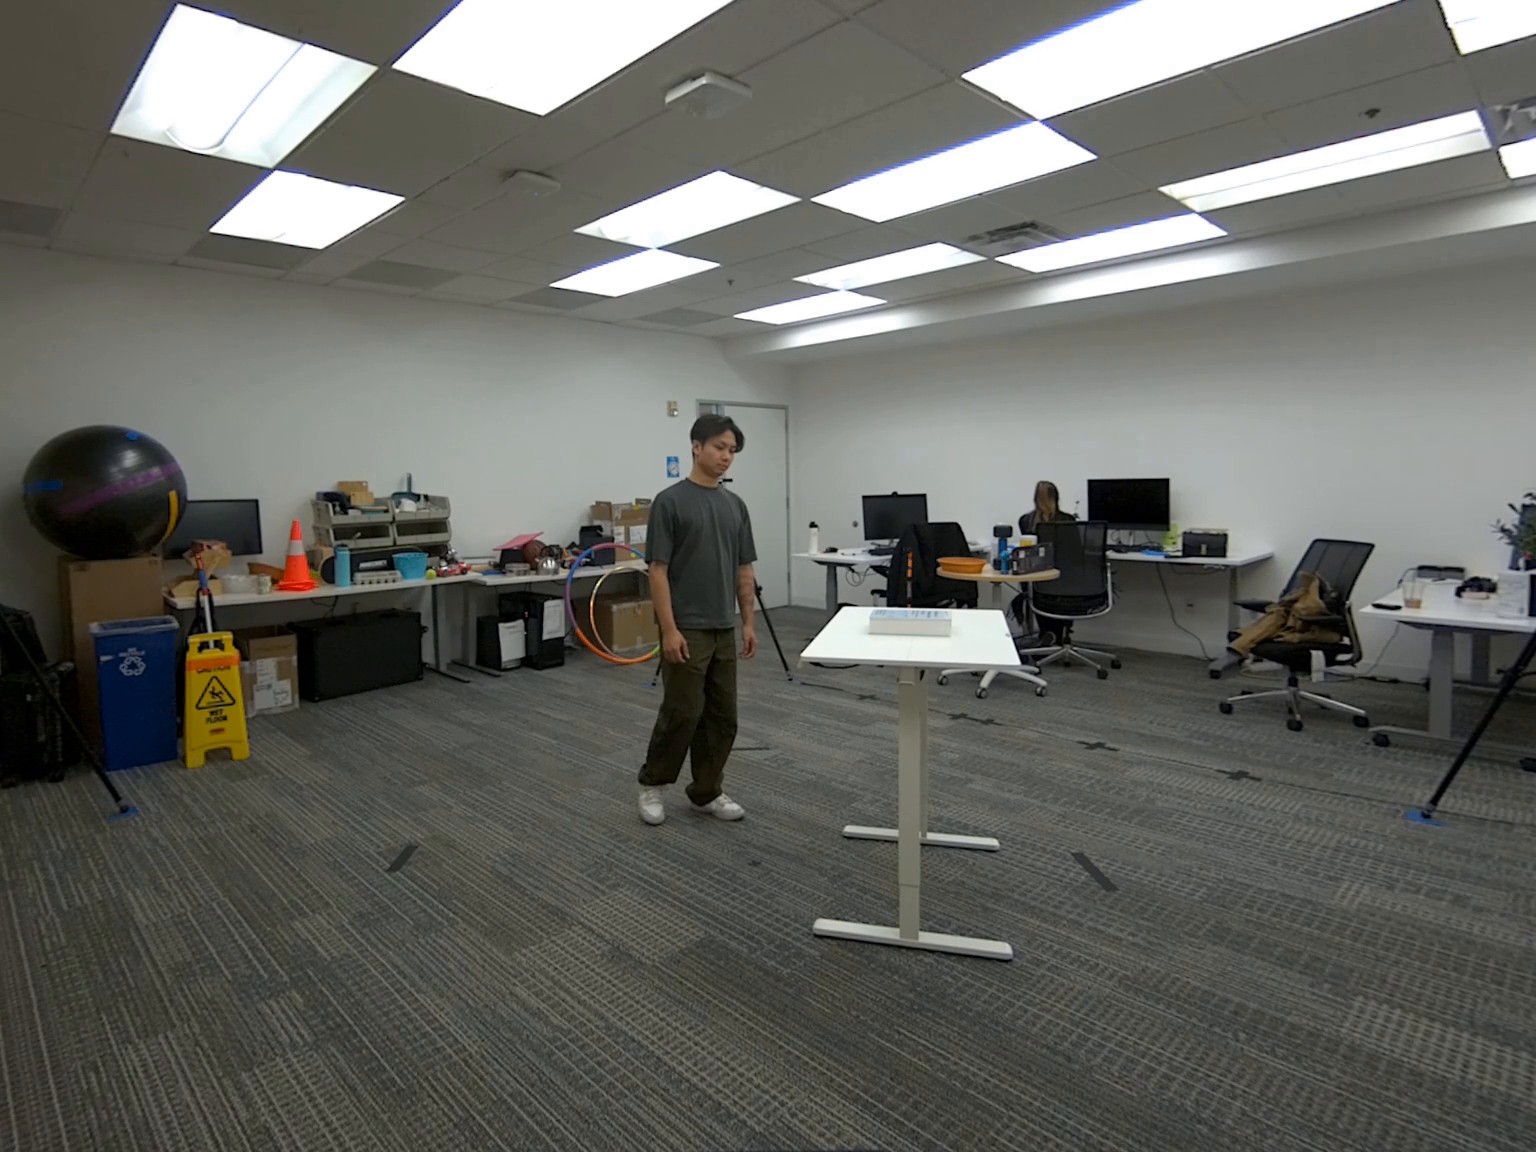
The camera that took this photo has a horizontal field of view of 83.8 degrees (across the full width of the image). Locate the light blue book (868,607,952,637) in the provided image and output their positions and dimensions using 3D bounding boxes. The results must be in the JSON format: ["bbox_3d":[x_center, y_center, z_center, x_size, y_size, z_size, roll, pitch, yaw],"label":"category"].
[{"bbox_3d":[0.485,0.154,2.844,0.264,0.059,0.190,0,7,13],"label":"light blue book"}]
